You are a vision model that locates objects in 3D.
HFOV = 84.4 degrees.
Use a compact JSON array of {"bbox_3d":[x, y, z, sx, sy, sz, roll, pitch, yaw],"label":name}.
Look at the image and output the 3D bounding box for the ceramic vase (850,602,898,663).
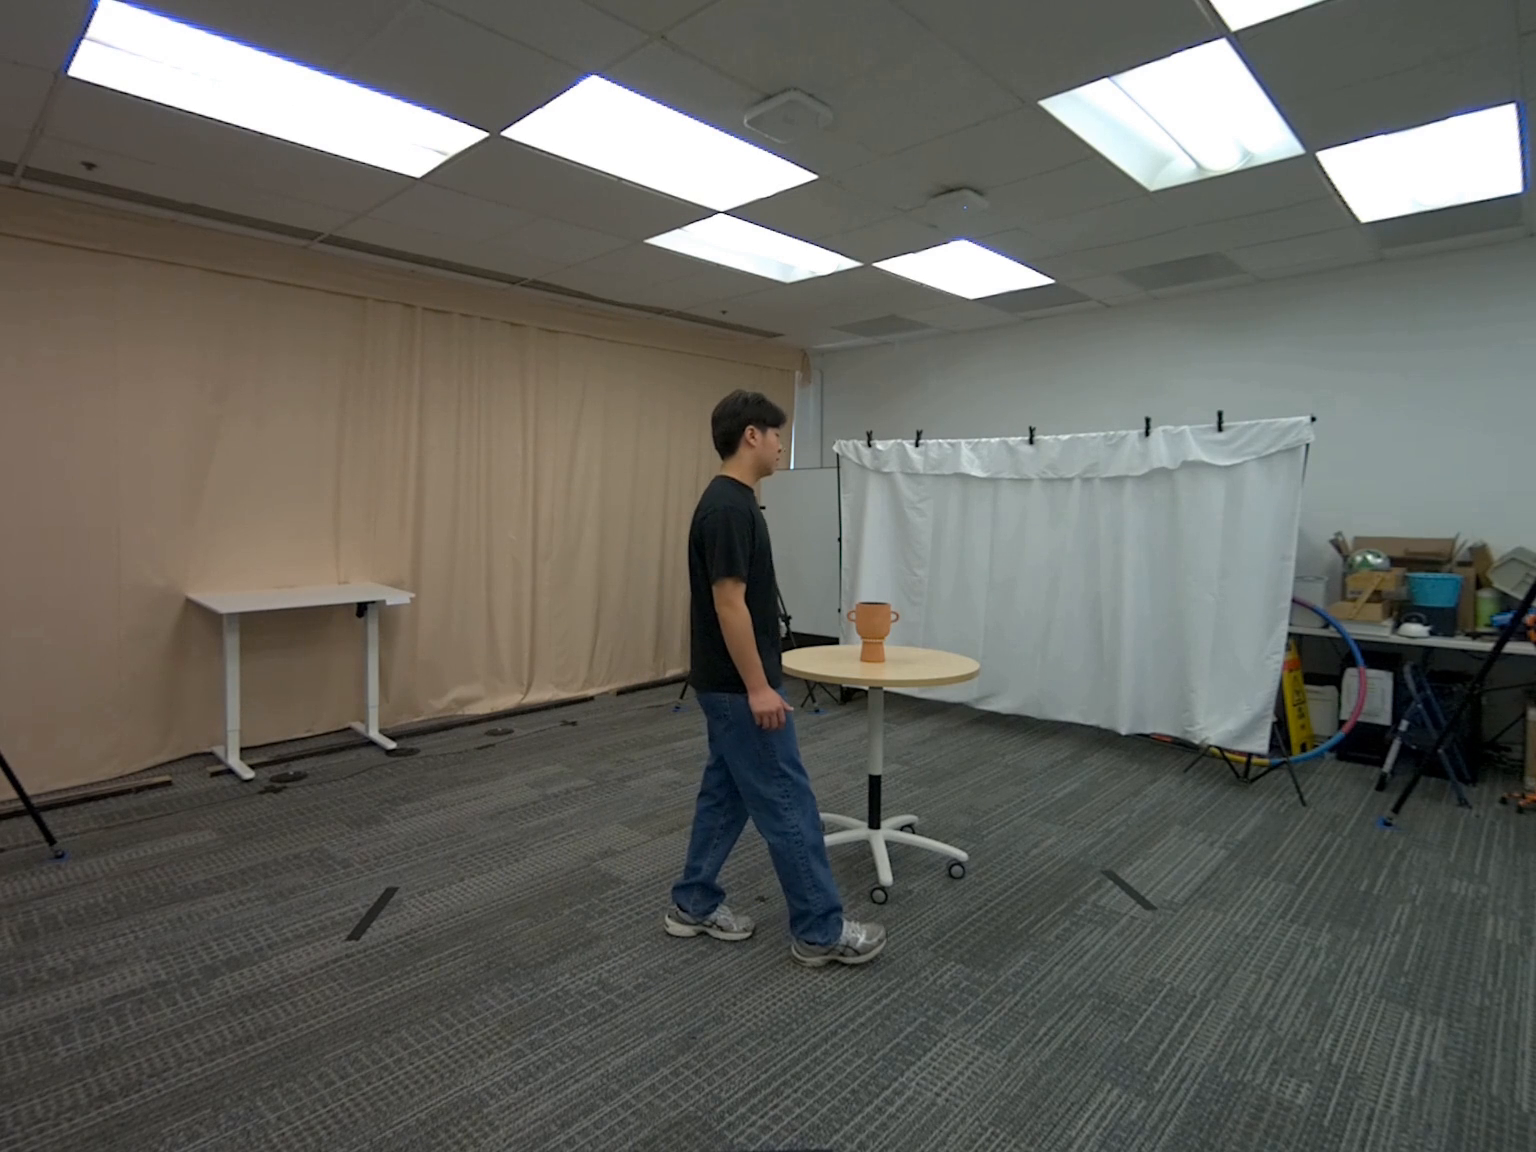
[{"bbox_3d":[0.412,0.217,3.236,0.130,0.219,0.164,-1,3,-40],"label":"ceramic vase"}]
